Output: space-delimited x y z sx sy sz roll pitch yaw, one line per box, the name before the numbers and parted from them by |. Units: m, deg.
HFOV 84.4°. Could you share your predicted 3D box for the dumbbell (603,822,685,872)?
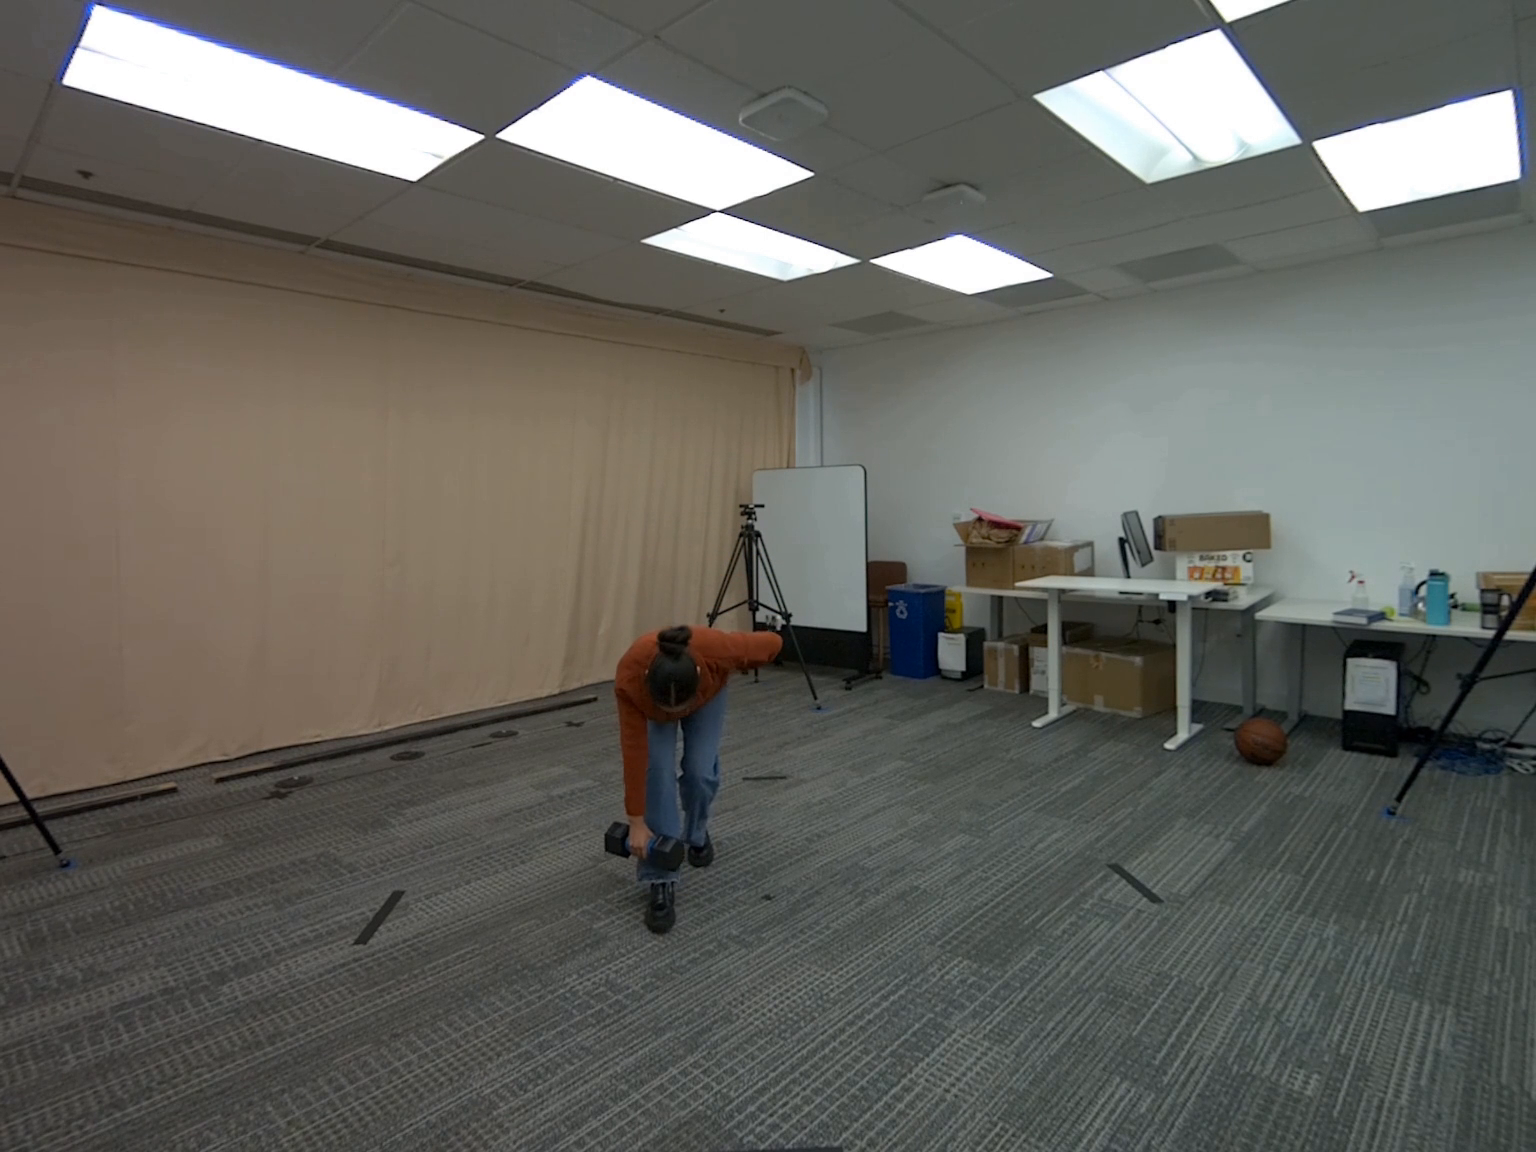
dumbbell | -0.431 0.932 2.911 0.303 0.123 0.105 2 3 37
